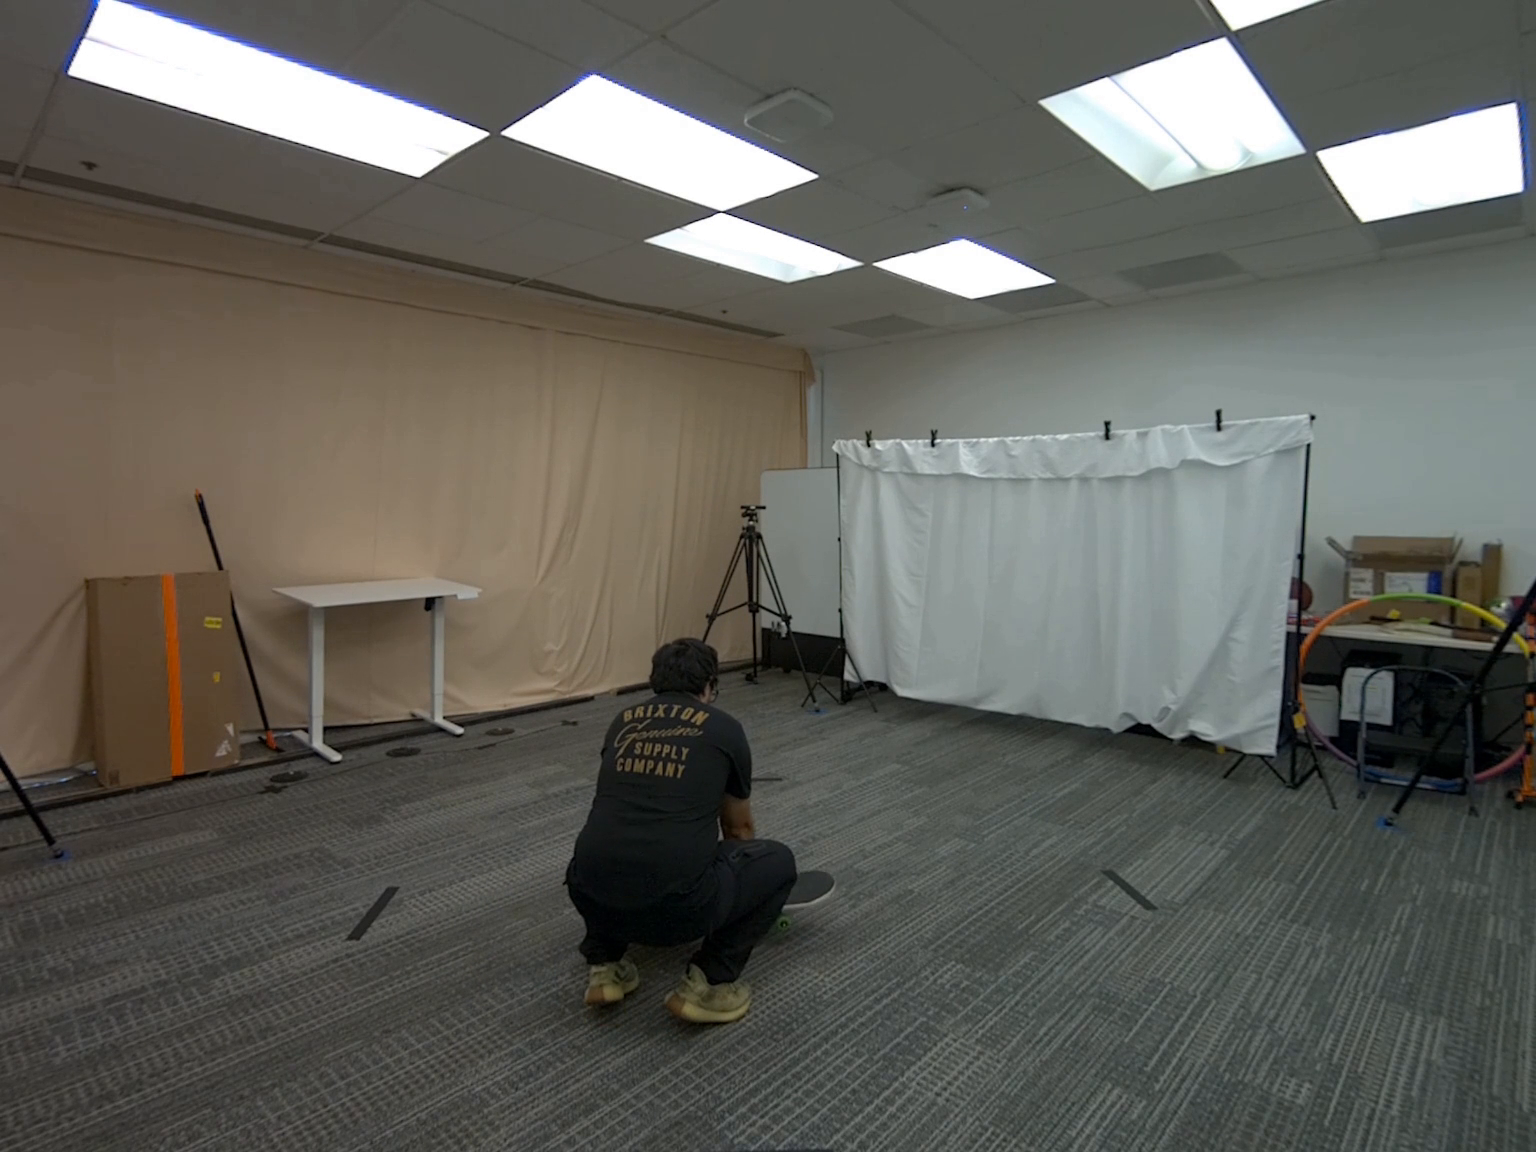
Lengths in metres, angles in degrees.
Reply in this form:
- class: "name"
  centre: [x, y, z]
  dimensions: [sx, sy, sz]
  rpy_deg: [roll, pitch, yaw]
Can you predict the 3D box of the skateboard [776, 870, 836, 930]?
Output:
- class: "skateboard"
  centre: [-0.158, 1.067, 2.688]
  dimensions: [0.778, 0.110, 0.196]
  rpy_deg: [-3, 8, -8]
